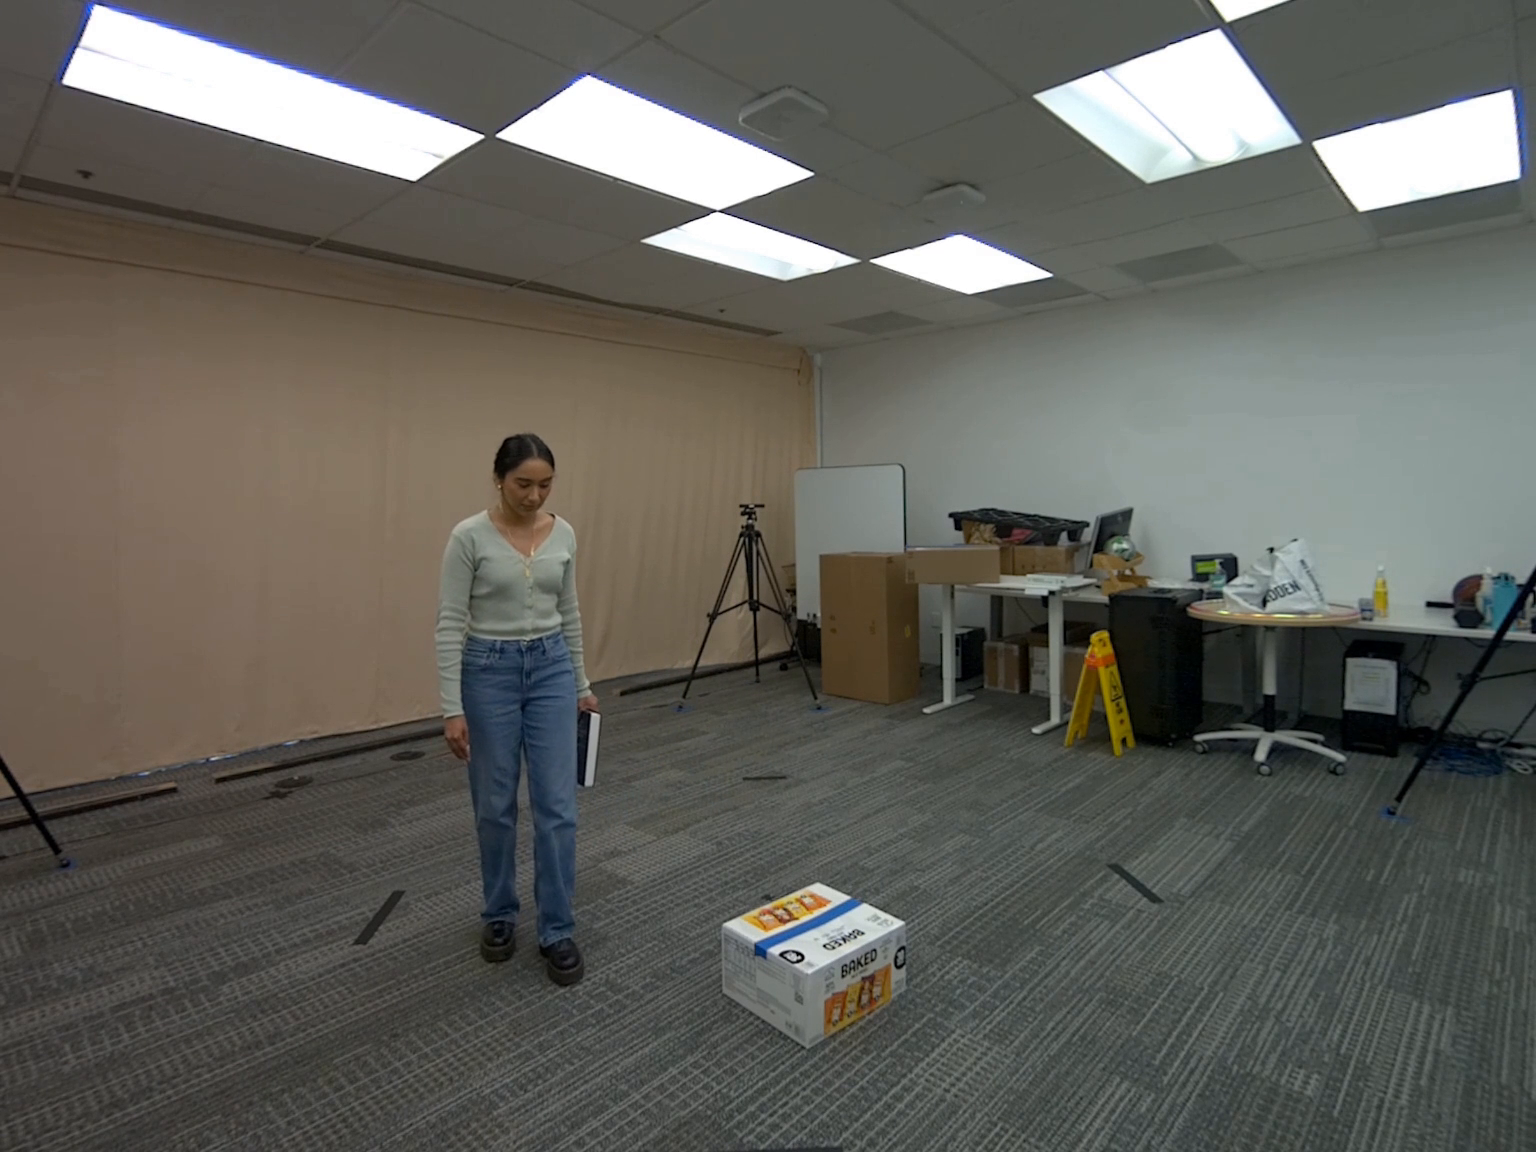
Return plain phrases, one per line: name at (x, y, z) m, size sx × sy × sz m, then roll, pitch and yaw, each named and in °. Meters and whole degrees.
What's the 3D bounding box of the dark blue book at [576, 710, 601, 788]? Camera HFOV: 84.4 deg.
dark blue book at (-0.631, 0.576, 2.838) m, size 0.169 × 0.245 × 0.044 m, roll 5°, pitch 0°, yaw 45°
